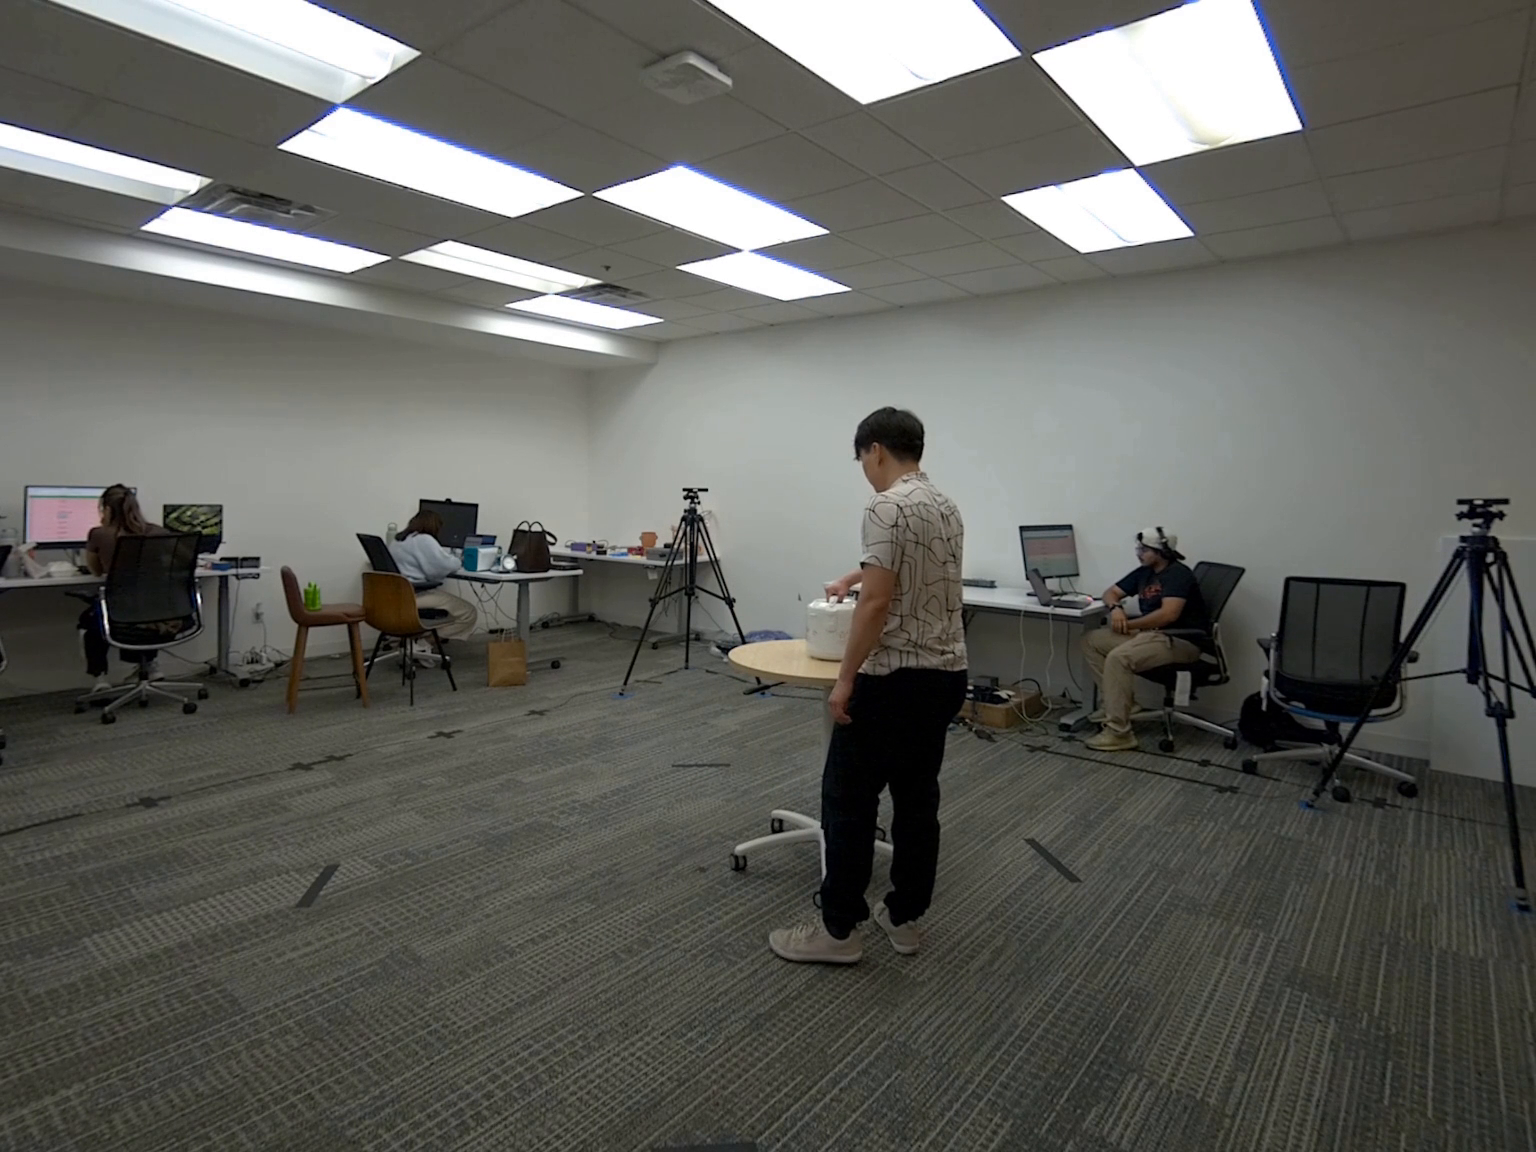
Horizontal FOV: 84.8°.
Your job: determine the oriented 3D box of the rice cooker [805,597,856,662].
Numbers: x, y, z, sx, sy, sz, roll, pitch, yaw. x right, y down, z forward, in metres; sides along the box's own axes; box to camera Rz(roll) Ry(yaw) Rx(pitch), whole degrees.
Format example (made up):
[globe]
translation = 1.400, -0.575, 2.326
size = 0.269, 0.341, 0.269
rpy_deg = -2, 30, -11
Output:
[rice cooker]
translation = 0.239, 0.179, 3.119
size = 0.221, 0.232, 0.218
rpy_deg = 1, 4, 15
